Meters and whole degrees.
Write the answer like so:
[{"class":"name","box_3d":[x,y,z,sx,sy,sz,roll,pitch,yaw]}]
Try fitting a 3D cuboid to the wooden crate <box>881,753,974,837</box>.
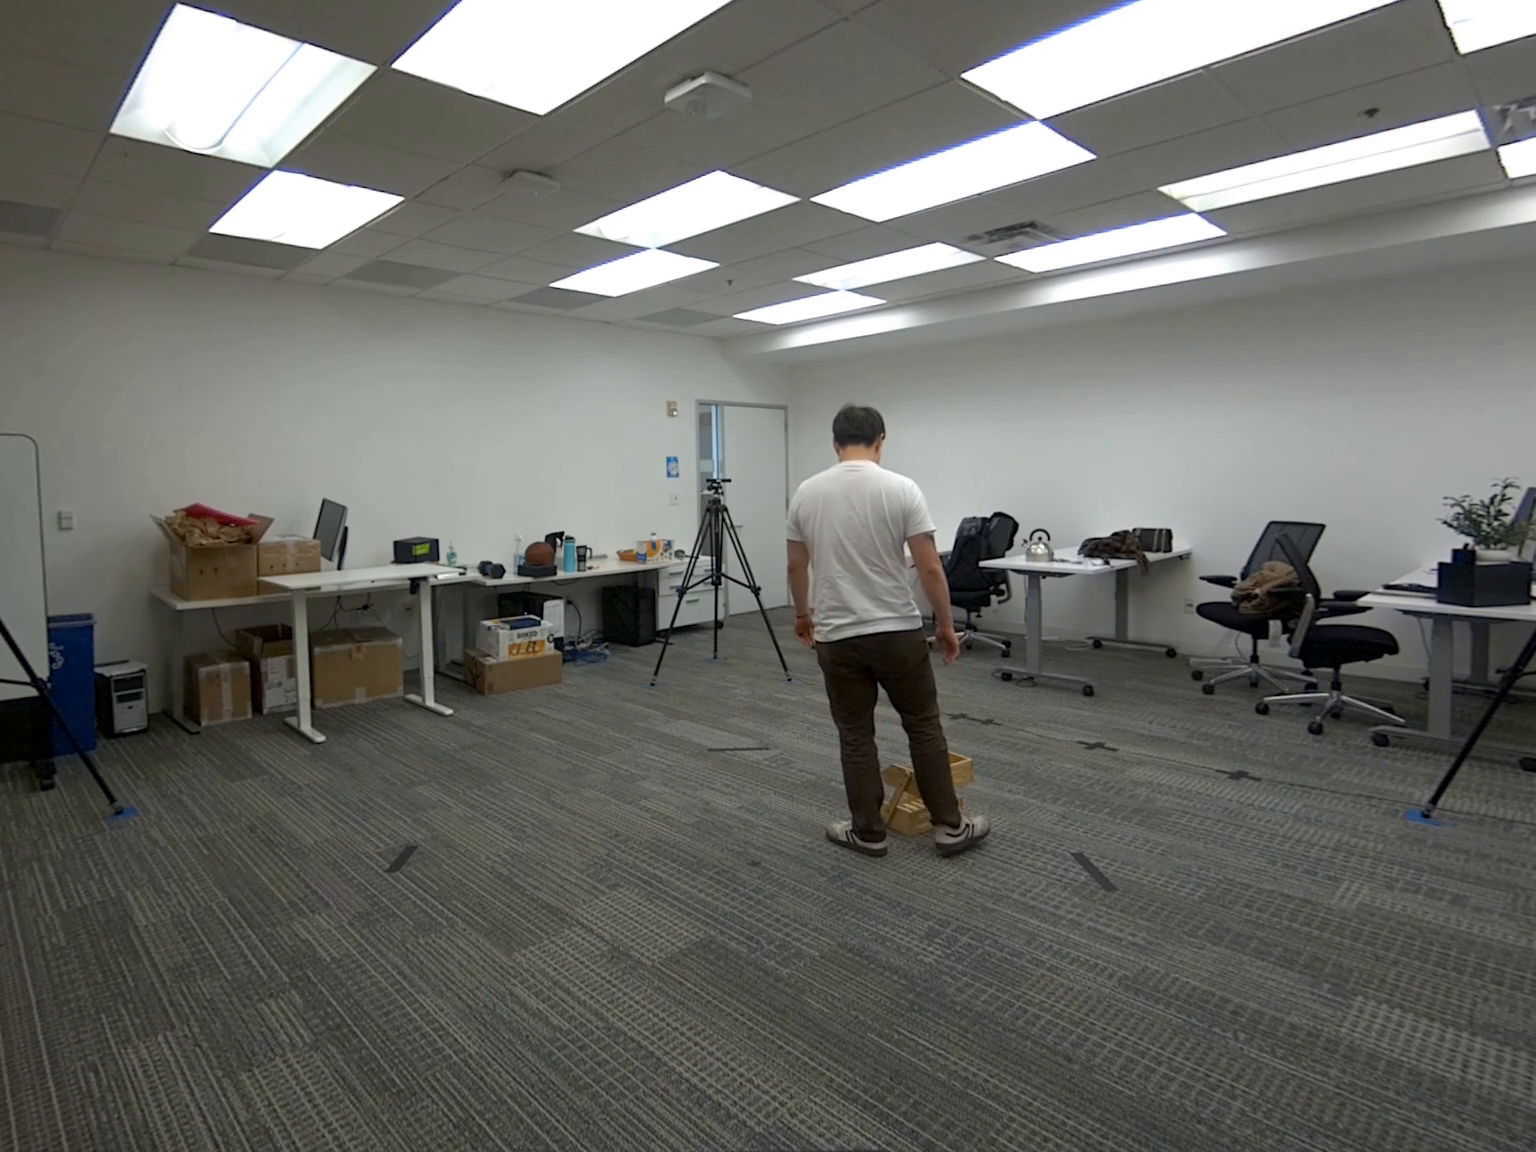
[{"class":"wooden crate","box_3d":[0.612,0.859,3.477,0.316,0.272,0.311,-5,7,-35]}]
